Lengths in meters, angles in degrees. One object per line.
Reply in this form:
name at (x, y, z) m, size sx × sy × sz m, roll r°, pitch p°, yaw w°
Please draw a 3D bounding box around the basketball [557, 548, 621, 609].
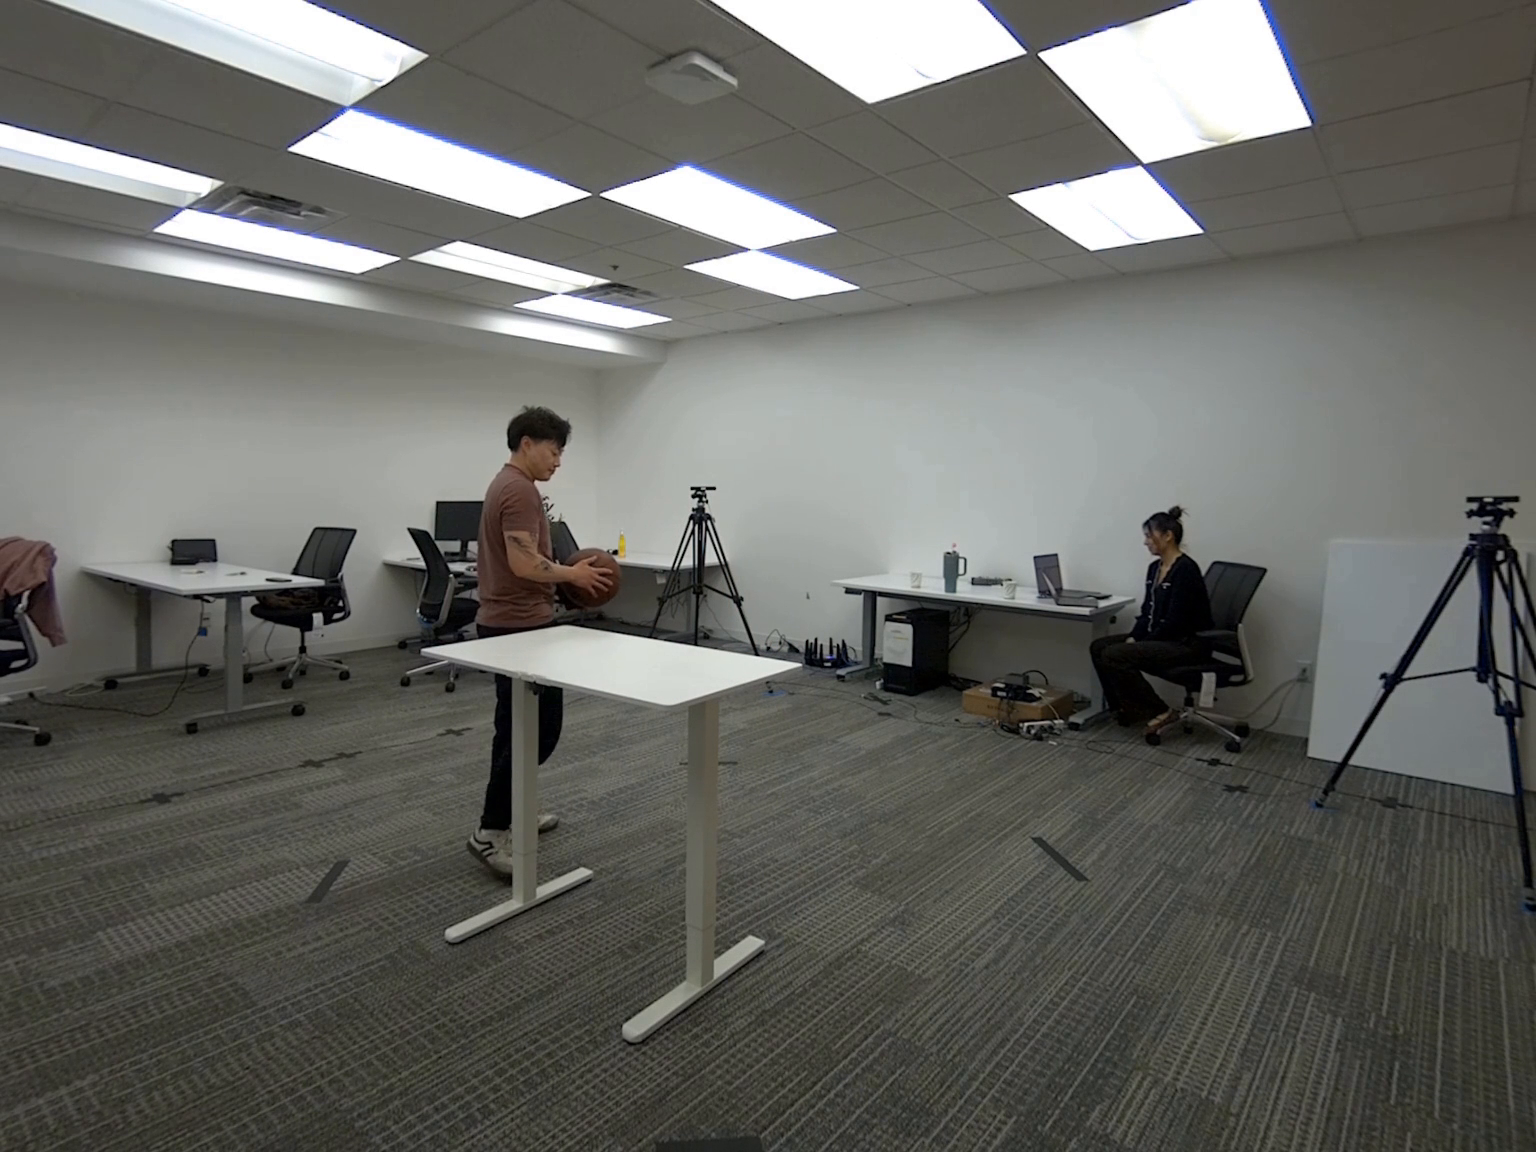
basketball at (-0.711, 0.008, 3.350) m, size 0.235 × 0.235 × 0.237 m, roll 1°, pitch 4°, yaw -2°
